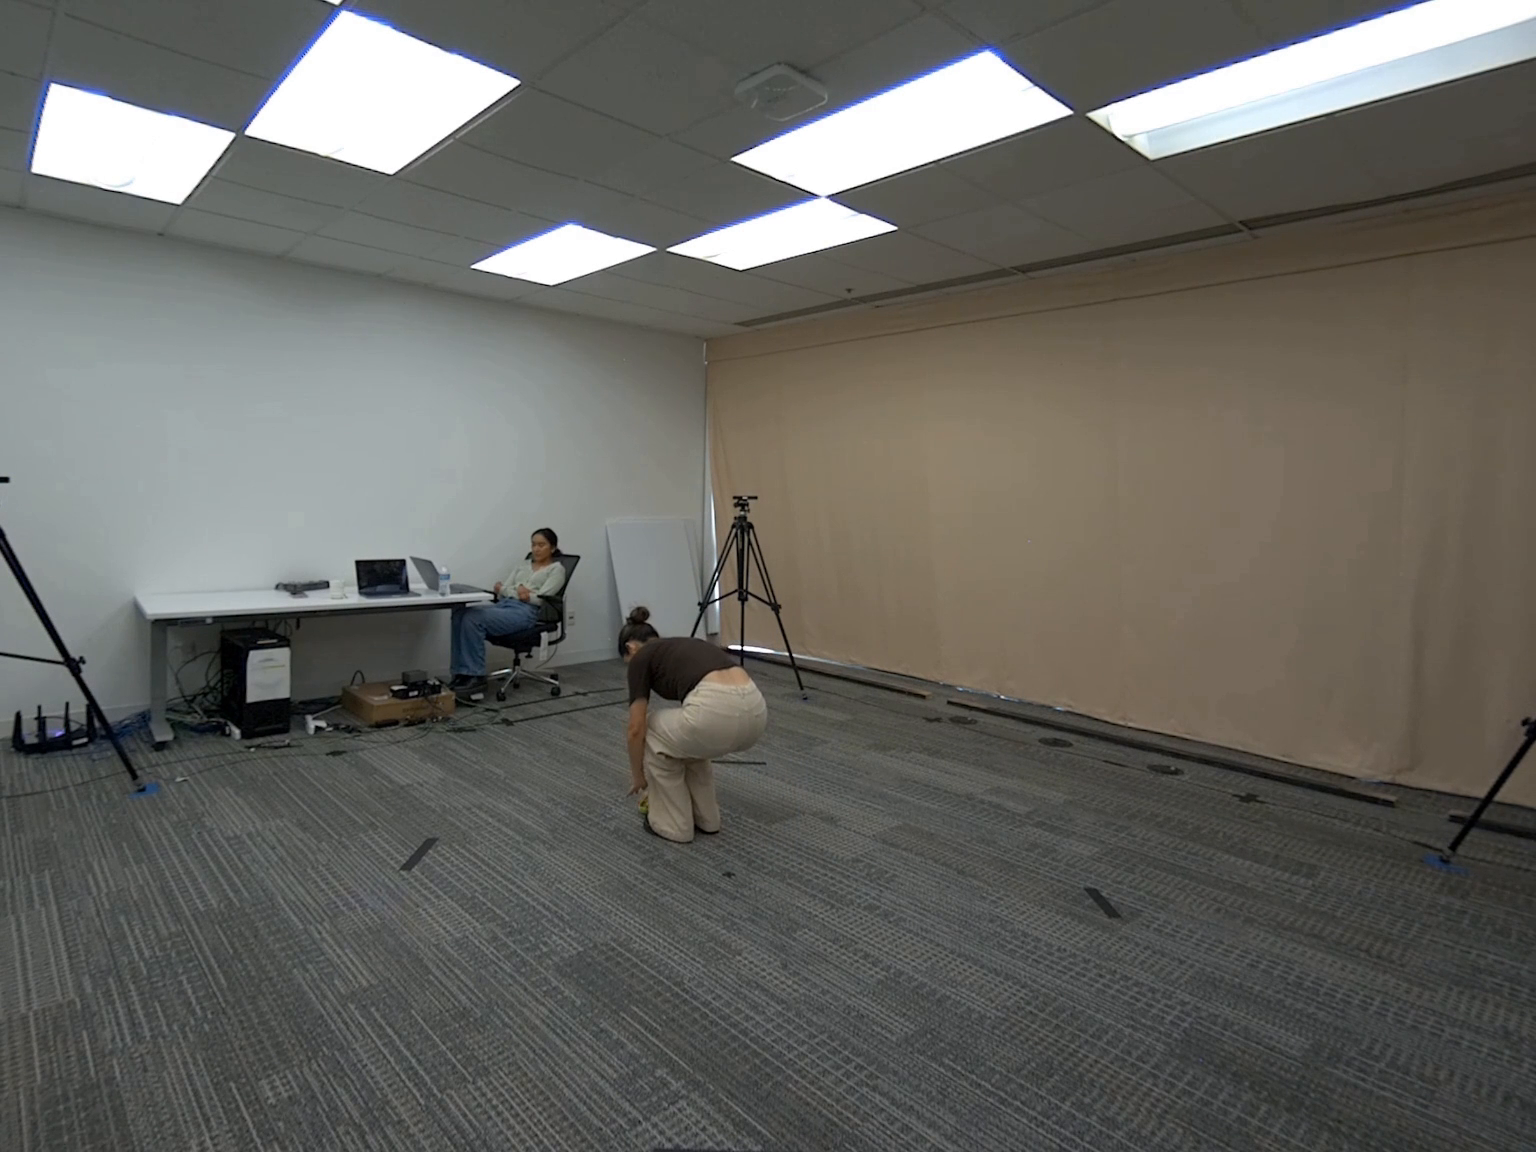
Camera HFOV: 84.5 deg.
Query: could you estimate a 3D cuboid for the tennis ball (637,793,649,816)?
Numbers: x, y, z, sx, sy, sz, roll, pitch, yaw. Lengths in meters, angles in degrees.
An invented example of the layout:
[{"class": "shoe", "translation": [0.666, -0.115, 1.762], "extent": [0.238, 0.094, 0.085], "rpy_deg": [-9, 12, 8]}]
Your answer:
[{"class": "tennis ball", "translation": [-0.538, 0.982, 3.667], "extent": [0.066, 0.066, 0.067], "rpy_deg": [1, 4, -1]}]
